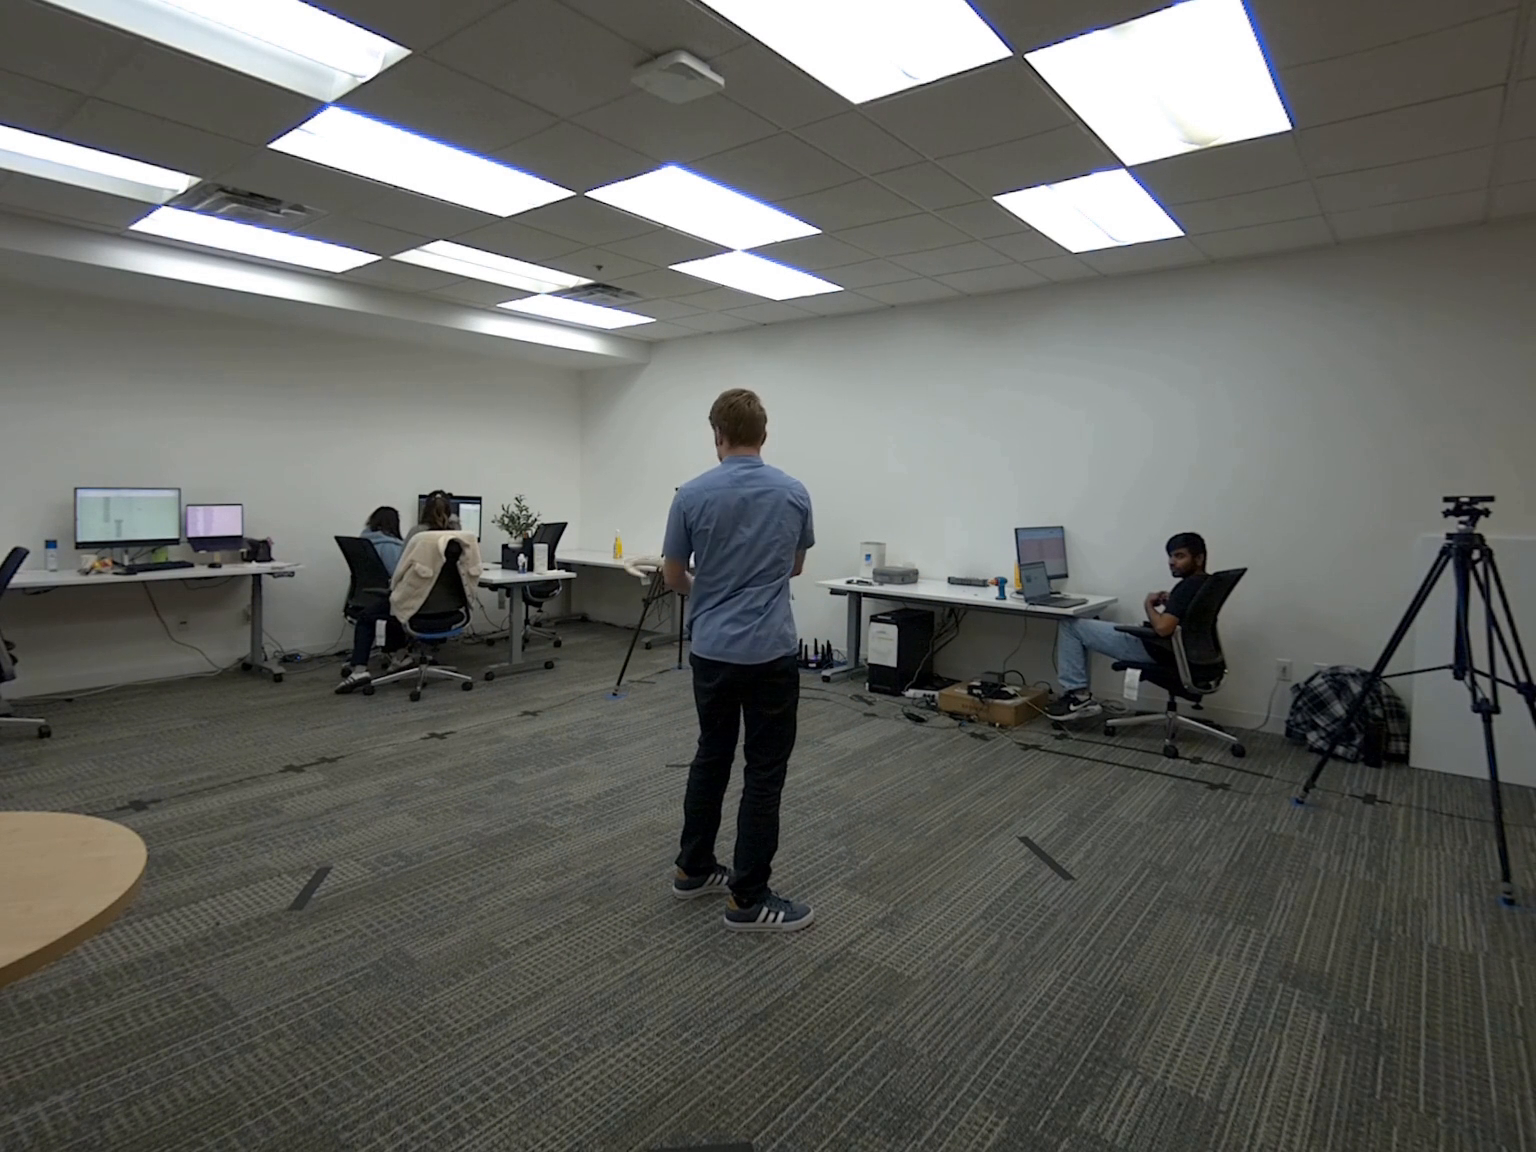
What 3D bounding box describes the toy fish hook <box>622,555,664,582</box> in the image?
[{"bbox_3d":[-0.354,0.012,3.215,0.219,0.047,0.527,-16,26,-39],"label":"toy fish hook"}]
